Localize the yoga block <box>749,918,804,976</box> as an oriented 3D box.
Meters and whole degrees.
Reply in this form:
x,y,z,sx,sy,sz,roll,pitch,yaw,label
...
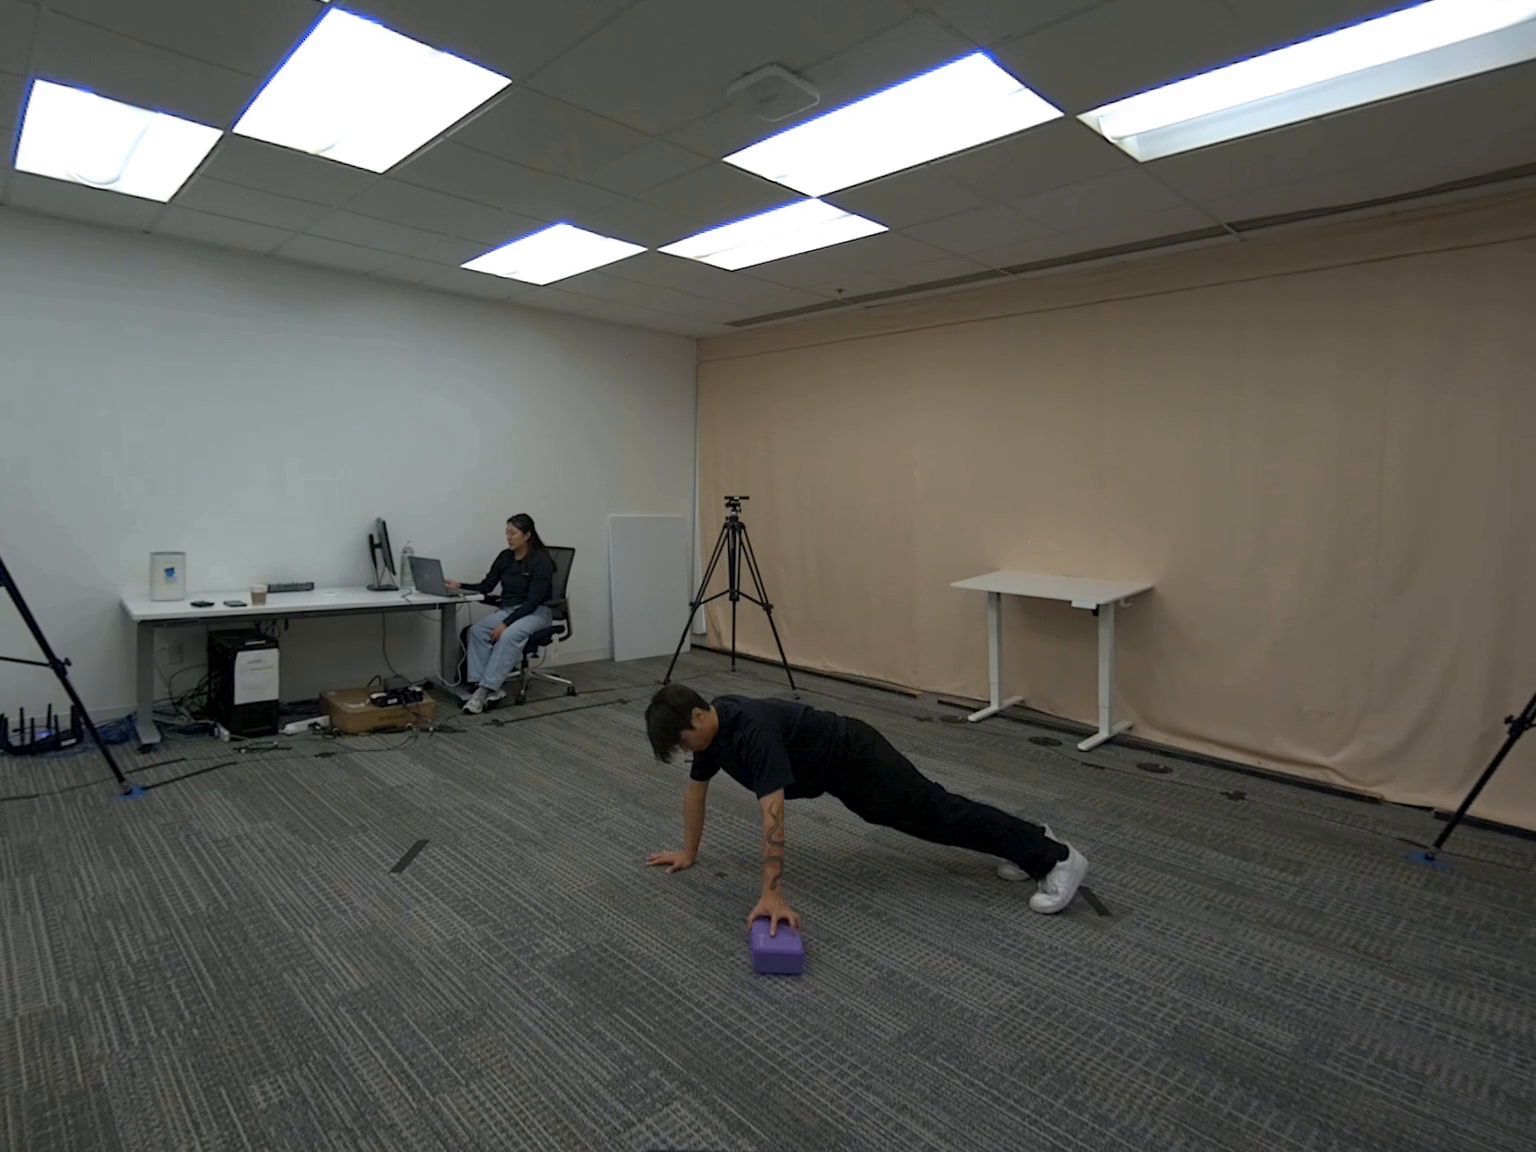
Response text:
x,y,z,sx,sy,sz,roll,pitch,yaw,label
0.015,1.115,2.566,0.149,0.076,0.230,2,4,-3,yoga block
